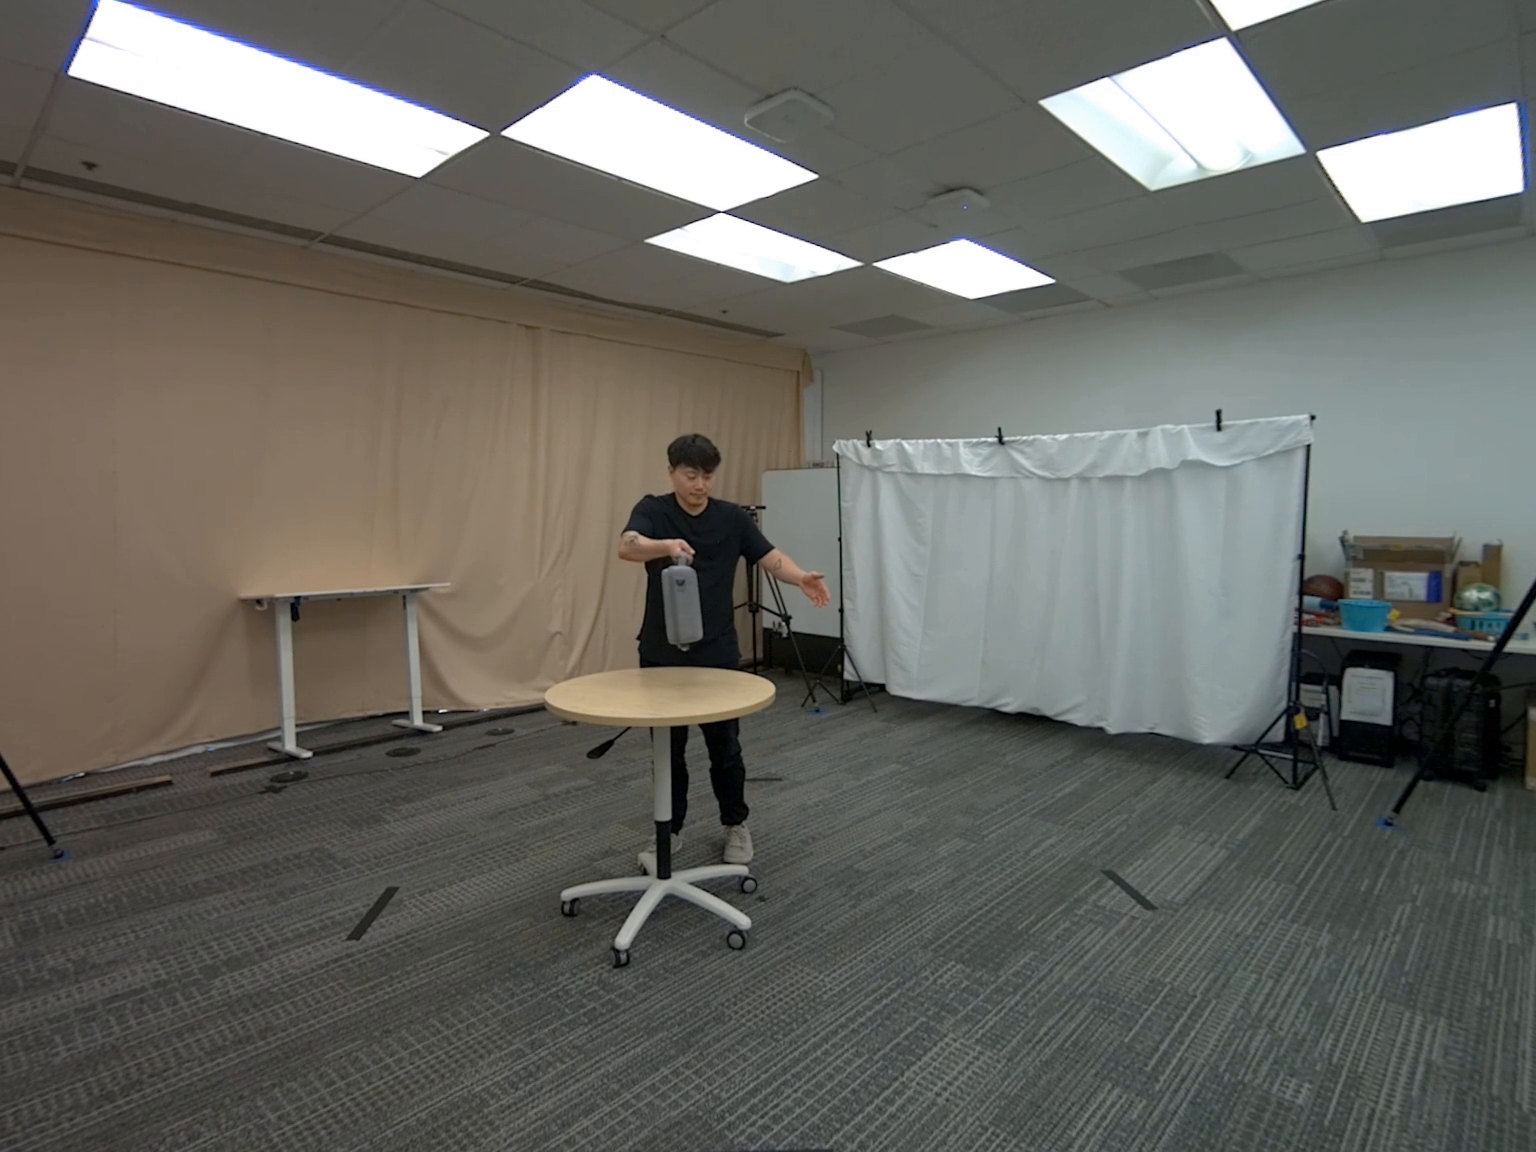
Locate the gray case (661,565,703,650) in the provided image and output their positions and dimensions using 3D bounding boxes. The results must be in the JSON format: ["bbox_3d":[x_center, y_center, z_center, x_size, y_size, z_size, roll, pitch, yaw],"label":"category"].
[{"bbox_3d":[-0.292,0.093,2.837,0.104,0.261,0.256,-4,-2,0],"label":"gray case"}]
